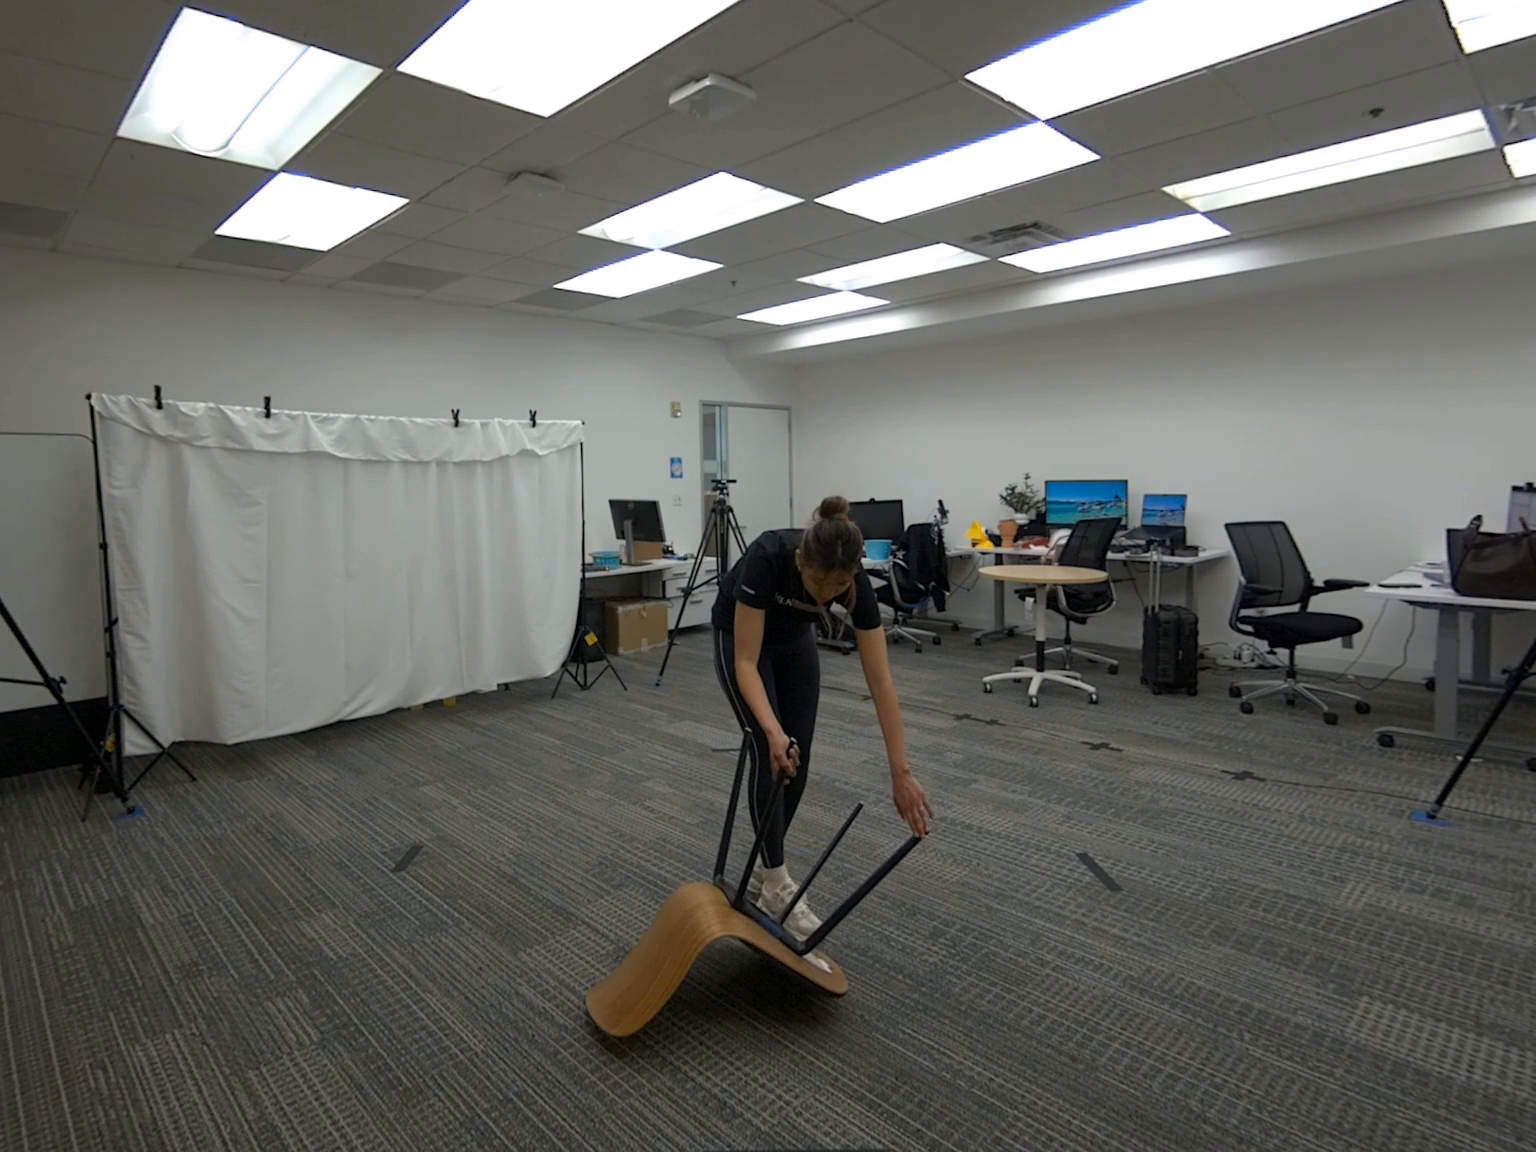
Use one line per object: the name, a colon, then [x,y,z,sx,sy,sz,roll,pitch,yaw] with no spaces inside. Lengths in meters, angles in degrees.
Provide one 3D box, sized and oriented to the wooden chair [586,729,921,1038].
wooden chair: [-0.020,0.935,2.350,0.518,0.879,0.482,37,-15,-8]
